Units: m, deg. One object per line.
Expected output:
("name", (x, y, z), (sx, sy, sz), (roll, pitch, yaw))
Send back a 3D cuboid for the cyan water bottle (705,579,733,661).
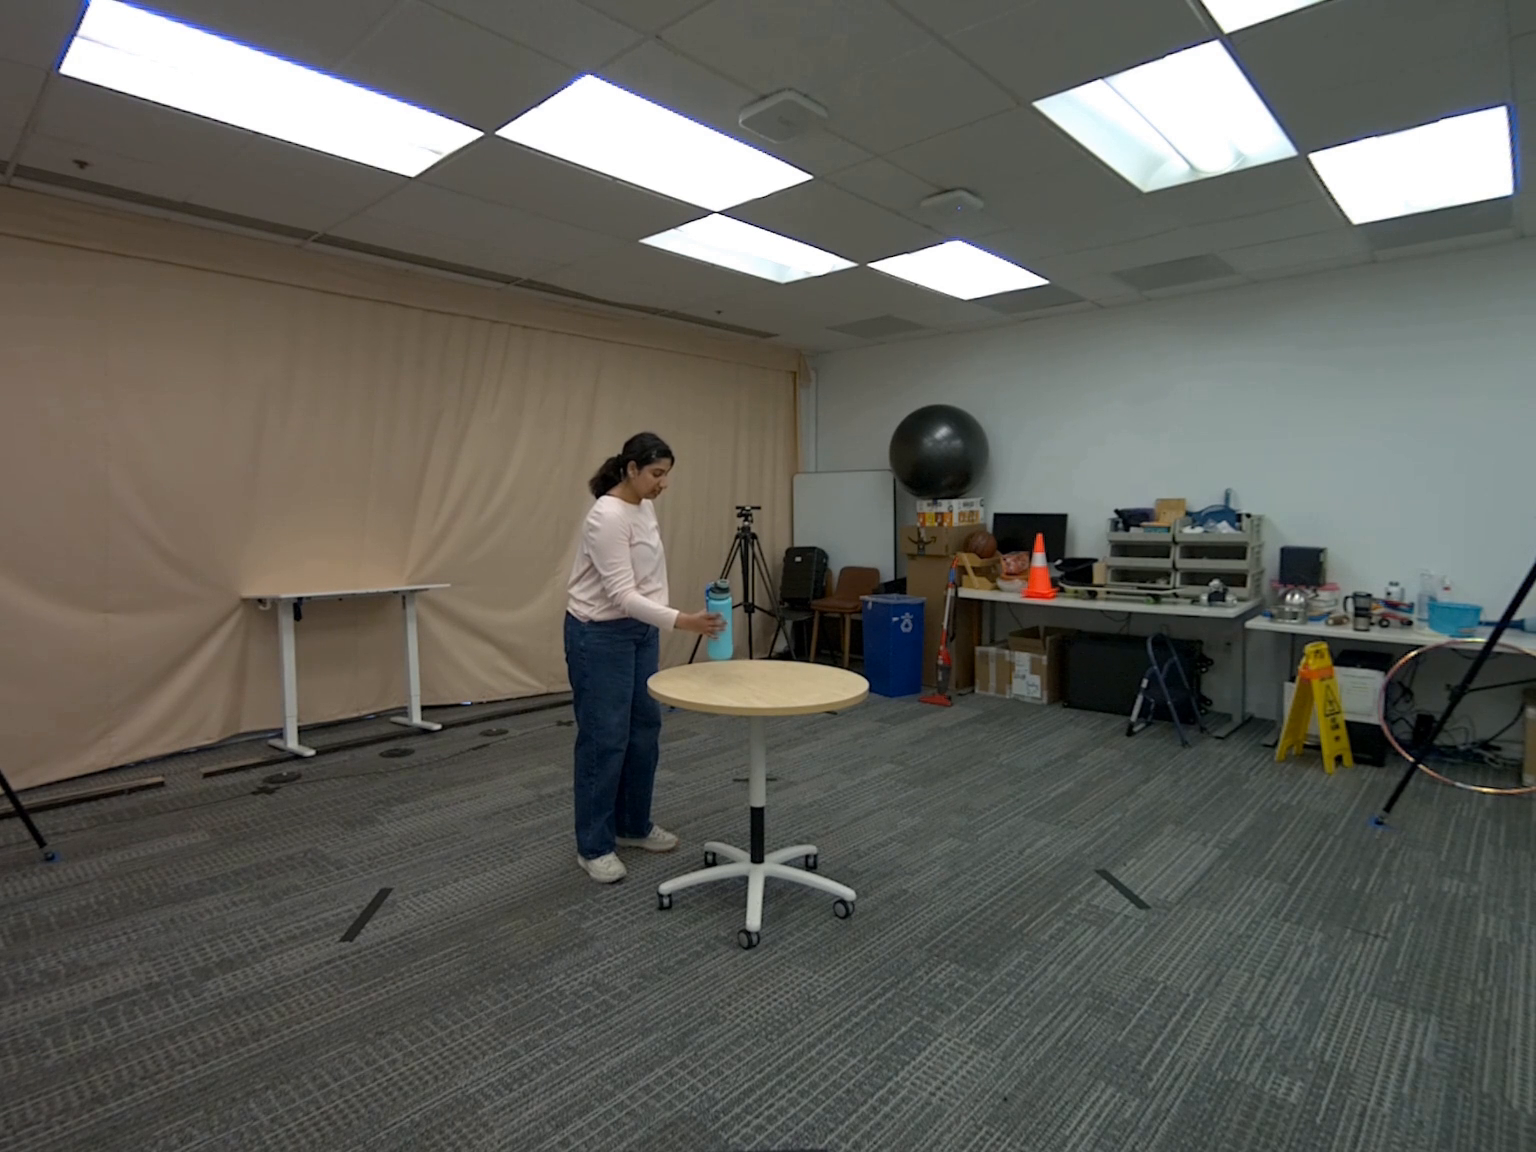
("cyan water bottle", (-0.175, 0.154, 2.962), (0.092, 0.280, 0.093), (-2, 16, -1))
